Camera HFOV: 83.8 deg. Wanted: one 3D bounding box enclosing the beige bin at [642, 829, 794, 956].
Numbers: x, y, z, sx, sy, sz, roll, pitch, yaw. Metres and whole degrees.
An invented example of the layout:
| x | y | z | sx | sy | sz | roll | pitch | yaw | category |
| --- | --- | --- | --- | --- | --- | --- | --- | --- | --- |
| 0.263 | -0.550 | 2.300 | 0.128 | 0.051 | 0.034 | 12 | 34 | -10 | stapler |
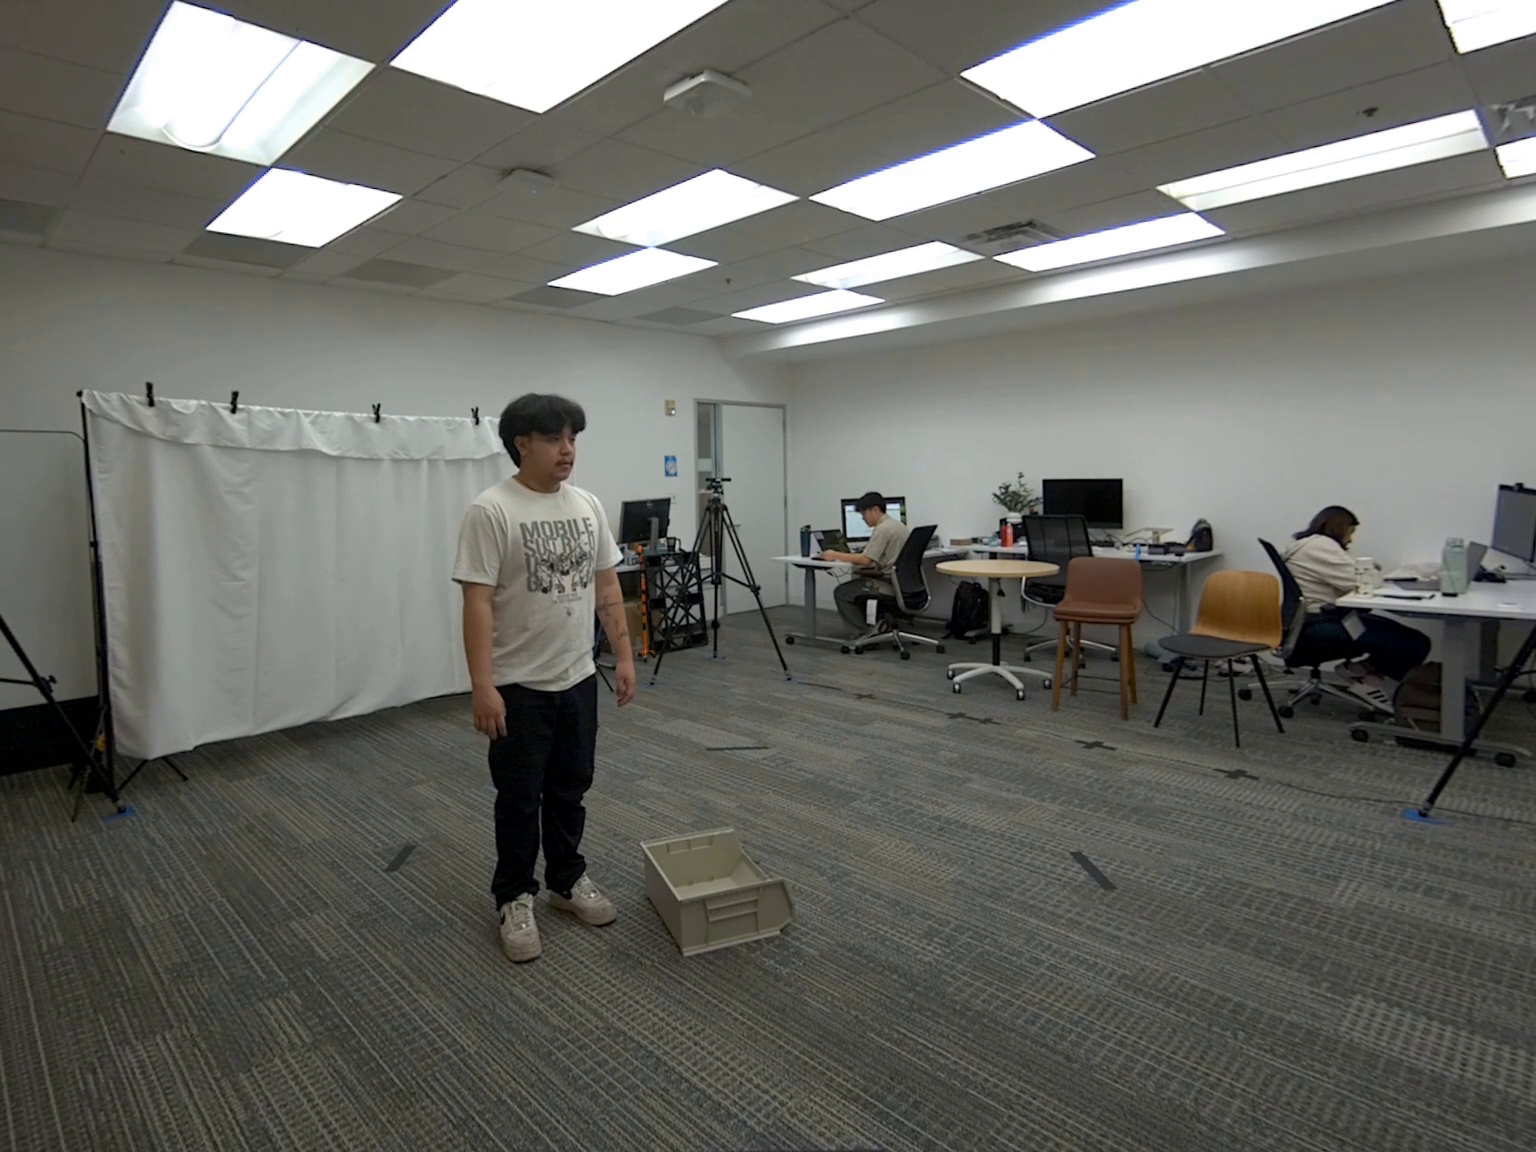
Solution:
| x | y | z | sx | sy | sz | roll | pitch | yaw | category |
| --- | --- | --- | --- | --- | --- | --- | --- | --- | --- |
| -0.170 | 0.995 | 2.751 | 0.370 | 0.188 | 0.433 | -4 | 7 | -23 | beige bin |
